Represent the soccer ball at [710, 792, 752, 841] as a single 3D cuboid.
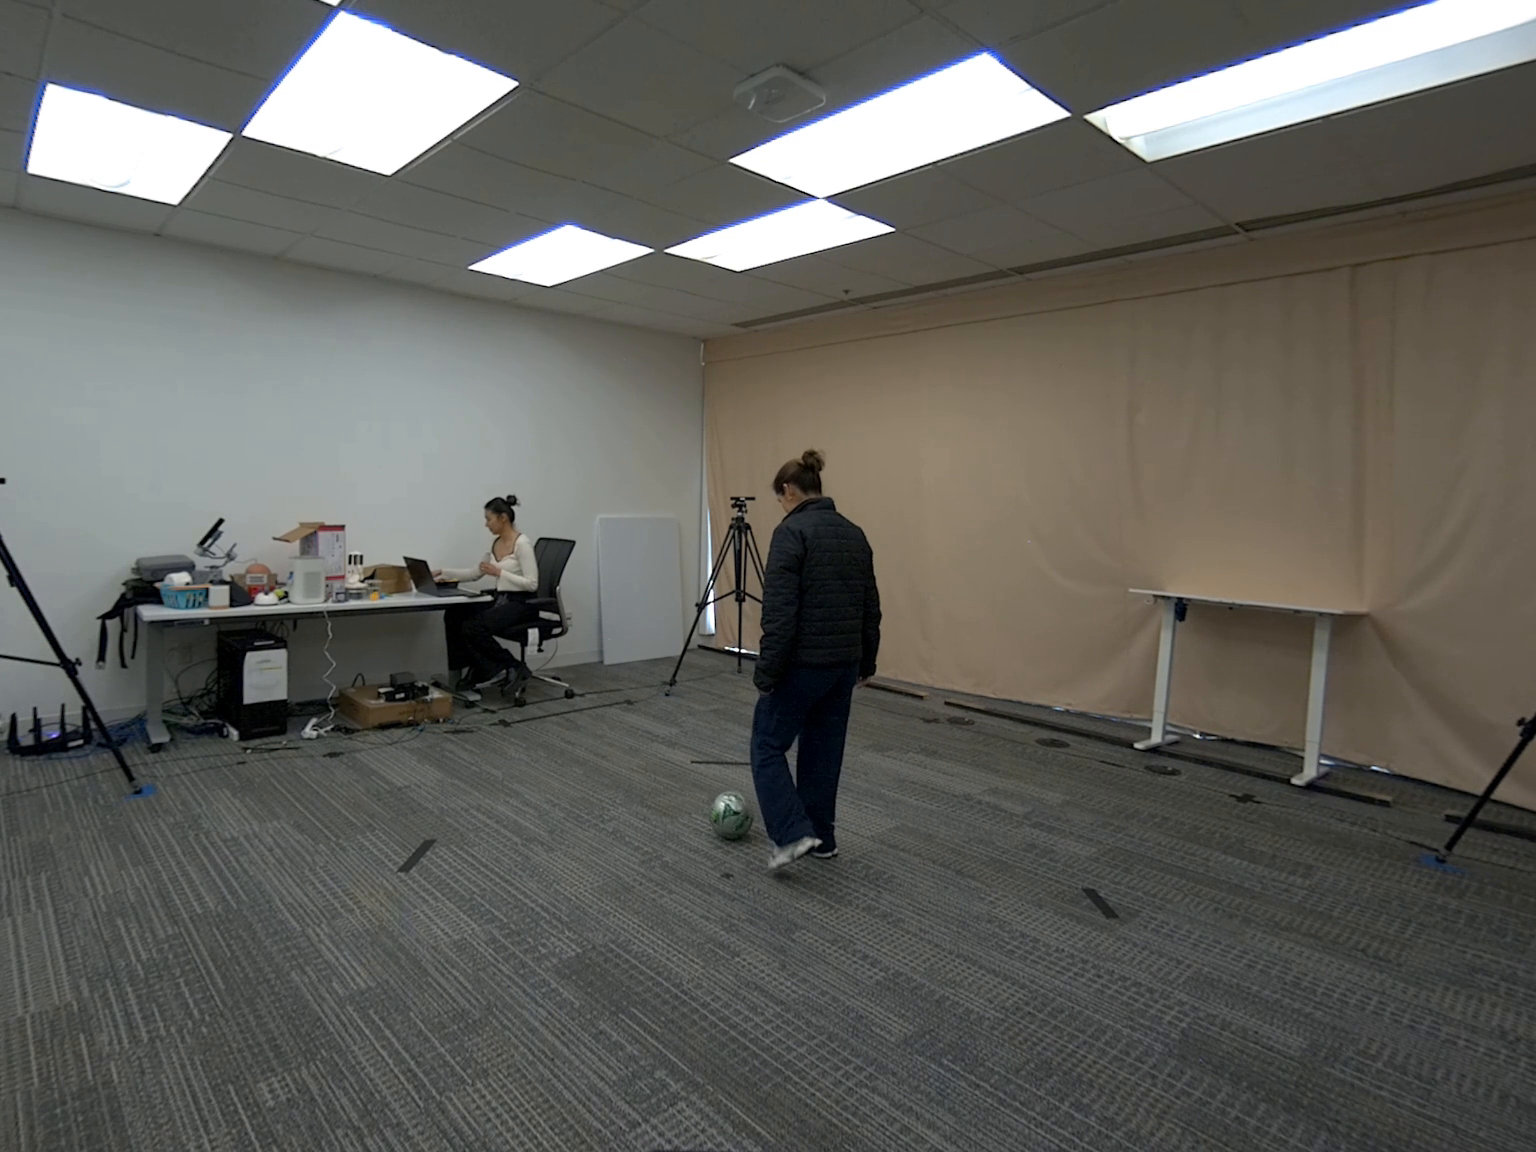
[{"bbox_3d":[-0.157,0.978,3.458,0.187,0.187,0.188,1,4,-1],"label":"soccer ball"}]
